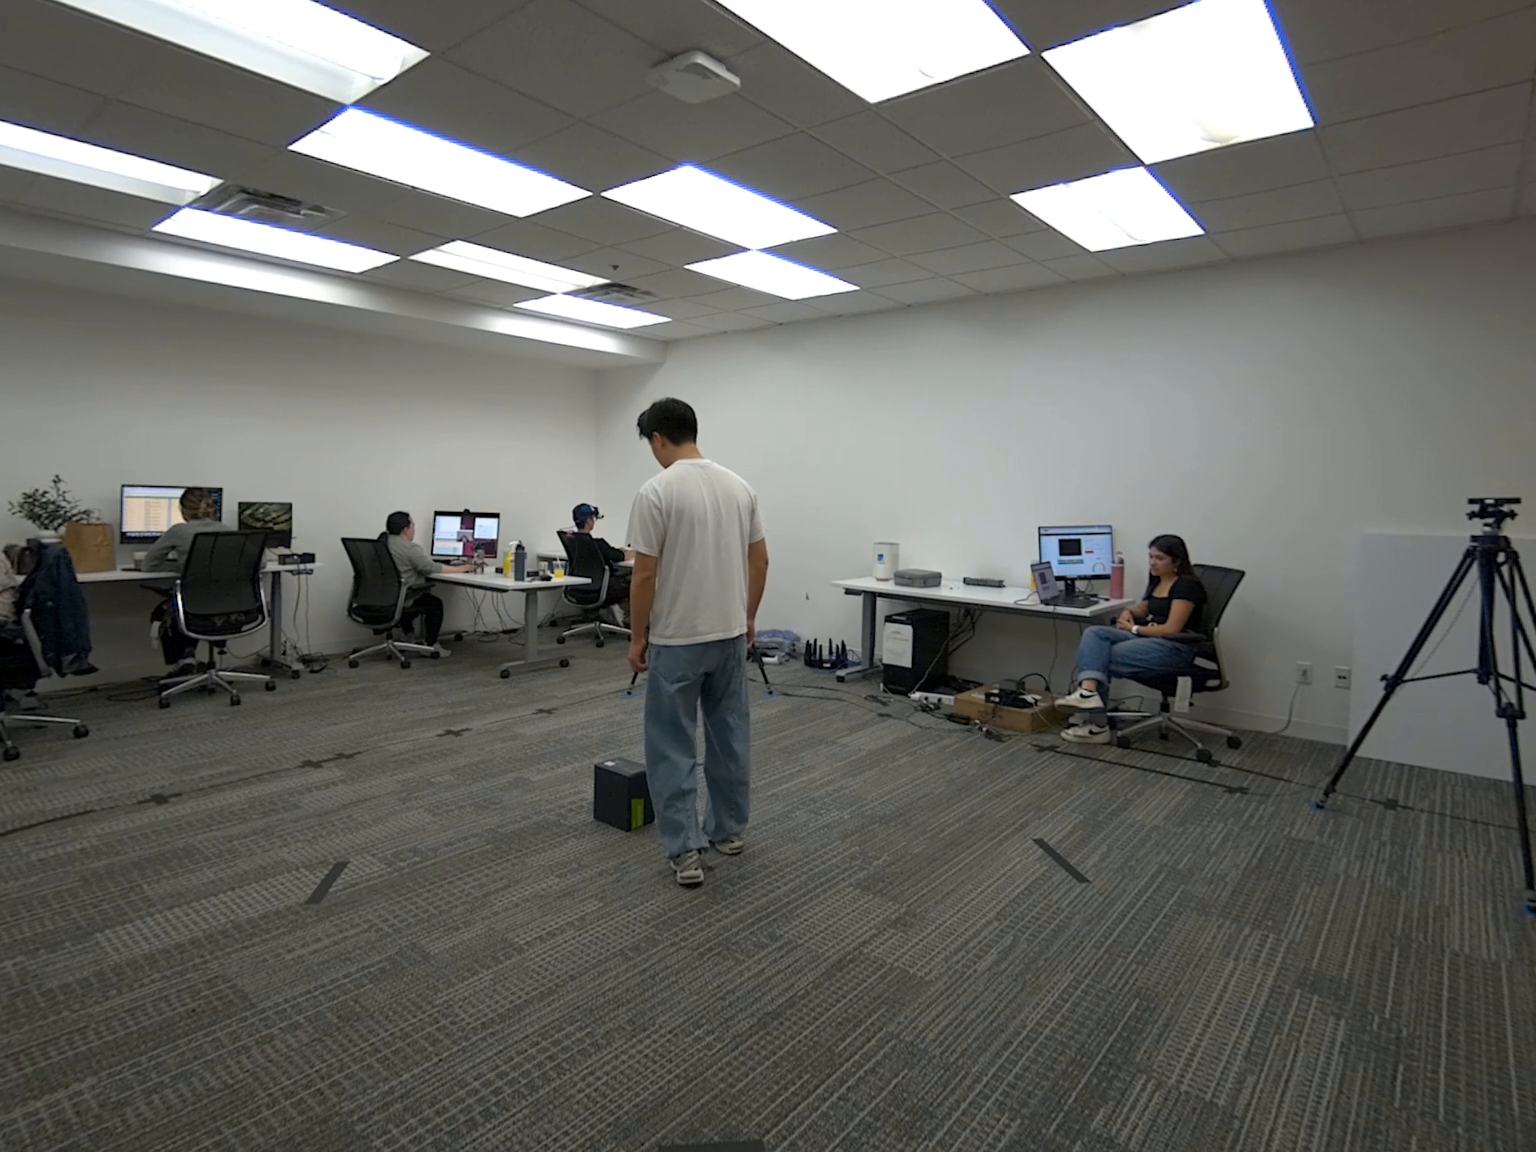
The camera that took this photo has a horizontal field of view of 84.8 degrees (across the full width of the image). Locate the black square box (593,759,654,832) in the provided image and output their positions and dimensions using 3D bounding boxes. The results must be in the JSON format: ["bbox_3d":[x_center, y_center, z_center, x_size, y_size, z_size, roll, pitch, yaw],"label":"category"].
[{"bbox_3d":[-0.609,0.898,3.537,0.224,0.227,0.151,5,5,39],"label":"black square box"}]
